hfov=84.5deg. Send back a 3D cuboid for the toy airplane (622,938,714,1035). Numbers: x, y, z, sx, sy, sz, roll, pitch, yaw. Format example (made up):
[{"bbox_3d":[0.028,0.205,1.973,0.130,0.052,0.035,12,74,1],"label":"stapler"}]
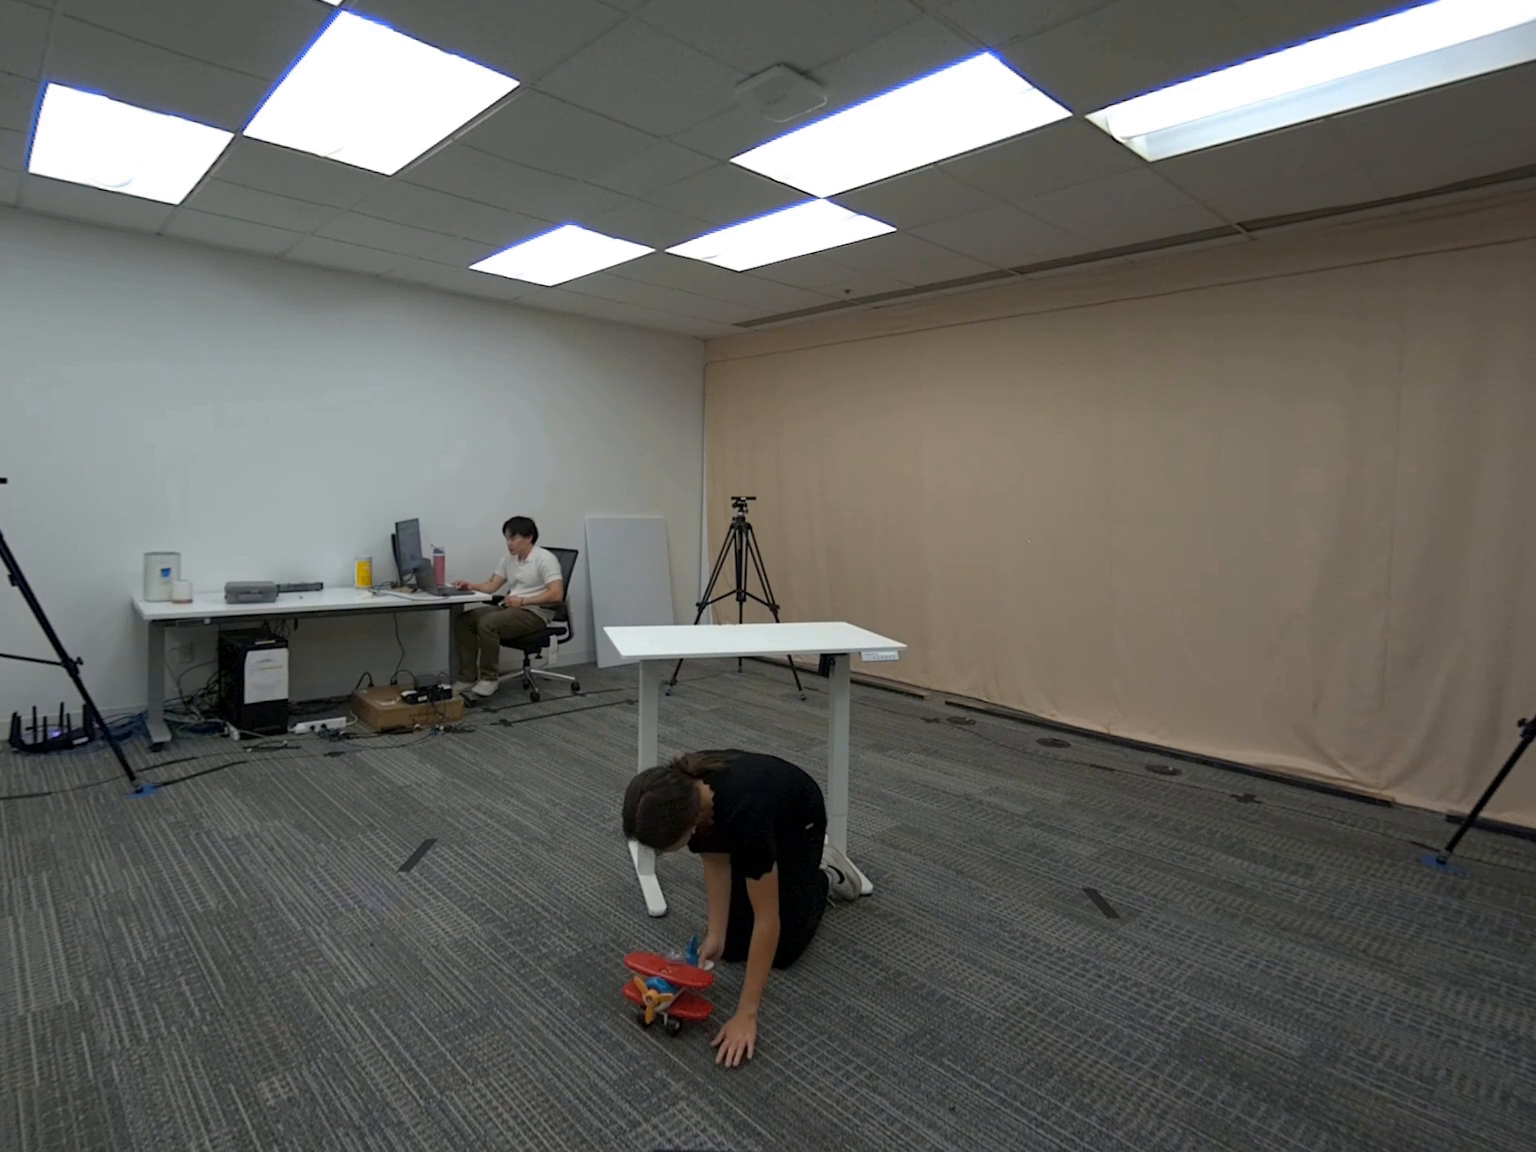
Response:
[{"bbox_3d":[-0.275,1.094,2.257,0.250,0.155,0.263,-4,15,-4],"label":"toy airplane"}]
